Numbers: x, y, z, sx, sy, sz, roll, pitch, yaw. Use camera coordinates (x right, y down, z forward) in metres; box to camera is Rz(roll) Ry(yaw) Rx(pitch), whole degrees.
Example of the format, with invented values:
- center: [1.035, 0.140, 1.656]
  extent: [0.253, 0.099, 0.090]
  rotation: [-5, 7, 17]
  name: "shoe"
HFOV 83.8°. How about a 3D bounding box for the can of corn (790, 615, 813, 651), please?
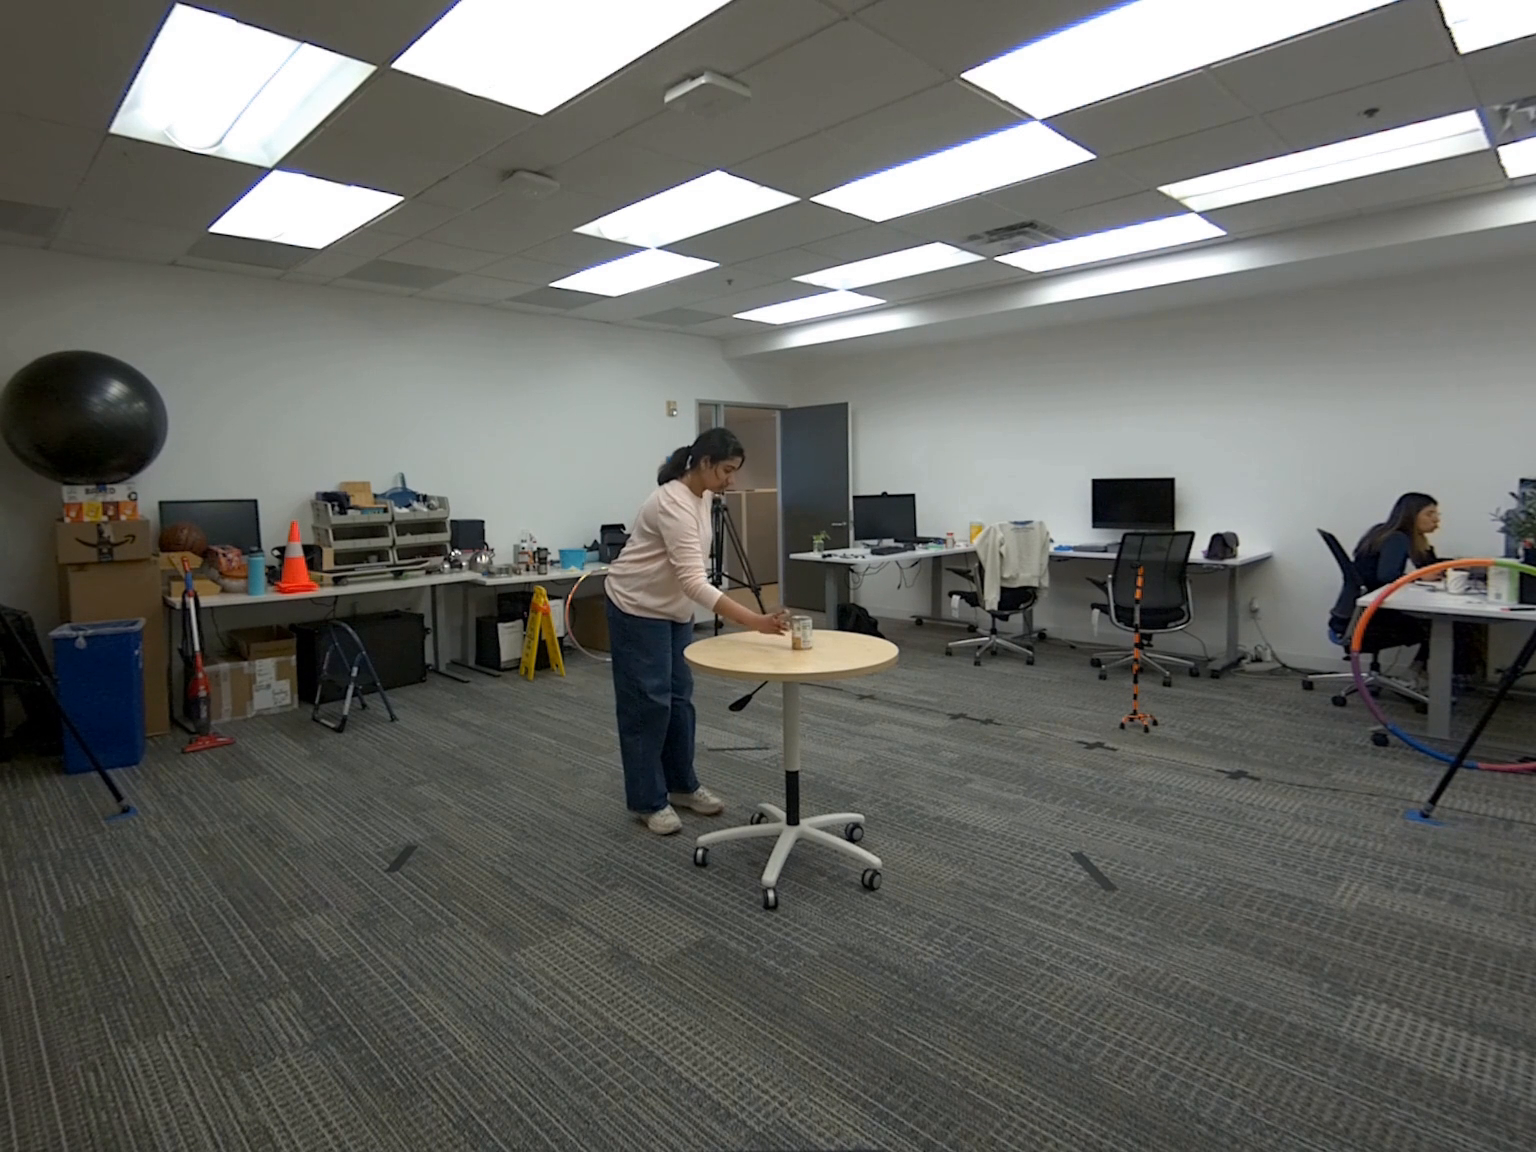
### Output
- center: [0.120, 0.205, 3.071]
  extent: [0.074, 0.110, 0.075]
  rotation: [-1, 6, -2]
  name: "can of corn"
